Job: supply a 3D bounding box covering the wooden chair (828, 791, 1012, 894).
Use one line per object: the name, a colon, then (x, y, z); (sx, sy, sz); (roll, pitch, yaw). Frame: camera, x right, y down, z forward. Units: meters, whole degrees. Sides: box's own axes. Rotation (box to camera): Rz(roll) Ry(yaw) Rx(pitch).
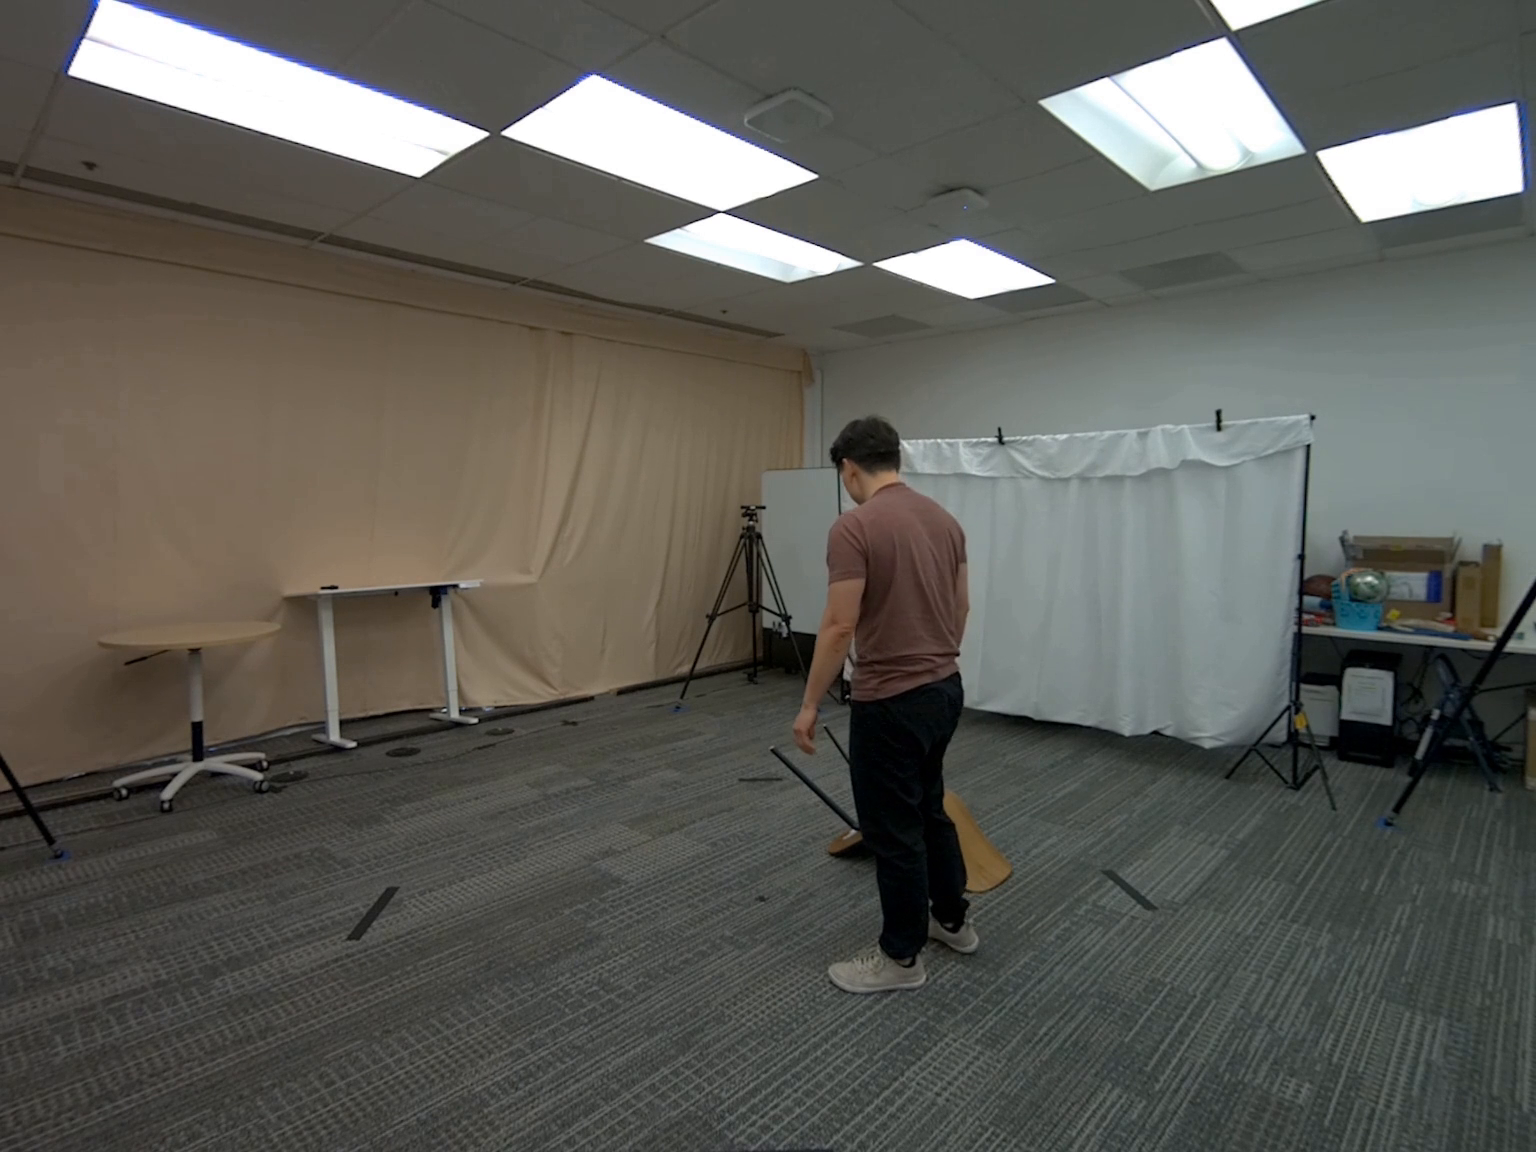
wooden chair: (0.491, 0.935, 3.408); (0.527, 0.896, 0.464); (-45, -22, 28)
